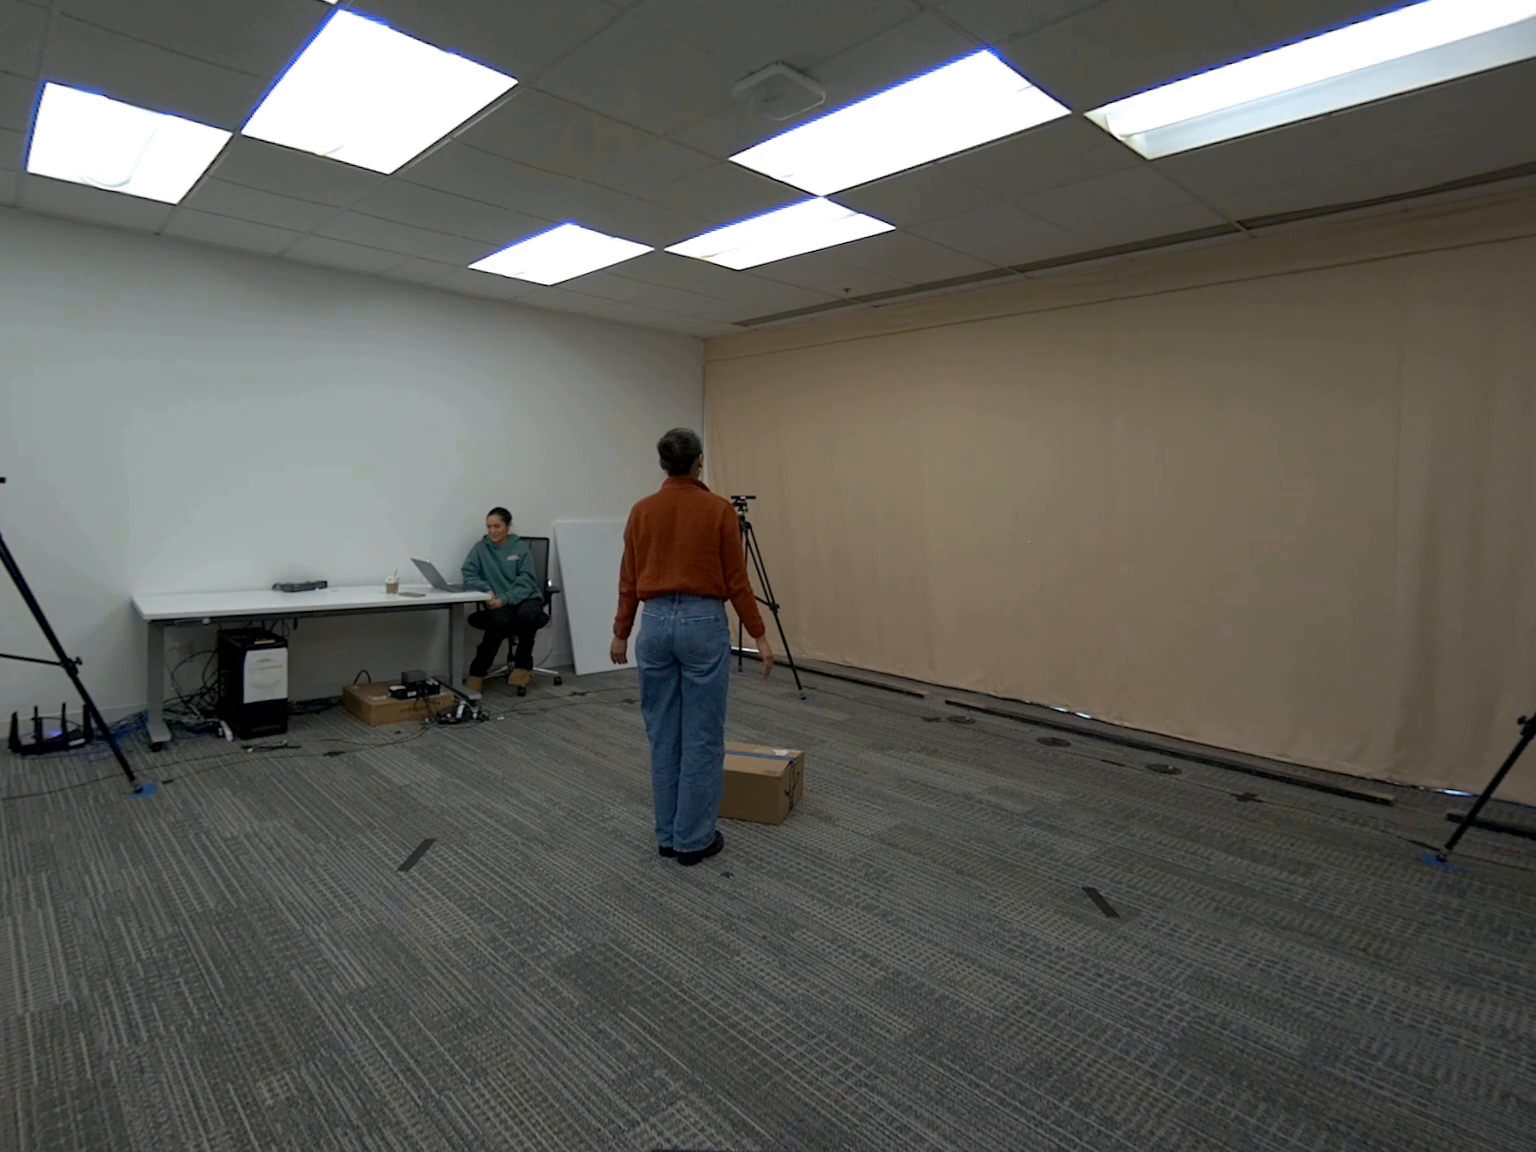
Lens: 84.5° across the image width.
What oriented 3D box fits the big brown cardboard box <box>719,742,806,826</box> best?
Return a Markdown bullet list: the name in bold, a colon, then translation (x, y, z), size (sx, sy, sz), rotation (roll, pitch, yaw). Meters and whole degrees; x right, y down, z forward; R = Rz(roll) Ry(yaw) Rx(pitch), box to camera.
- **big brown cardboard box**: translation (-0.168, 0.920, 3.851), size (0.597, 0.232, 0.413), rotation (3, 4, 17)
